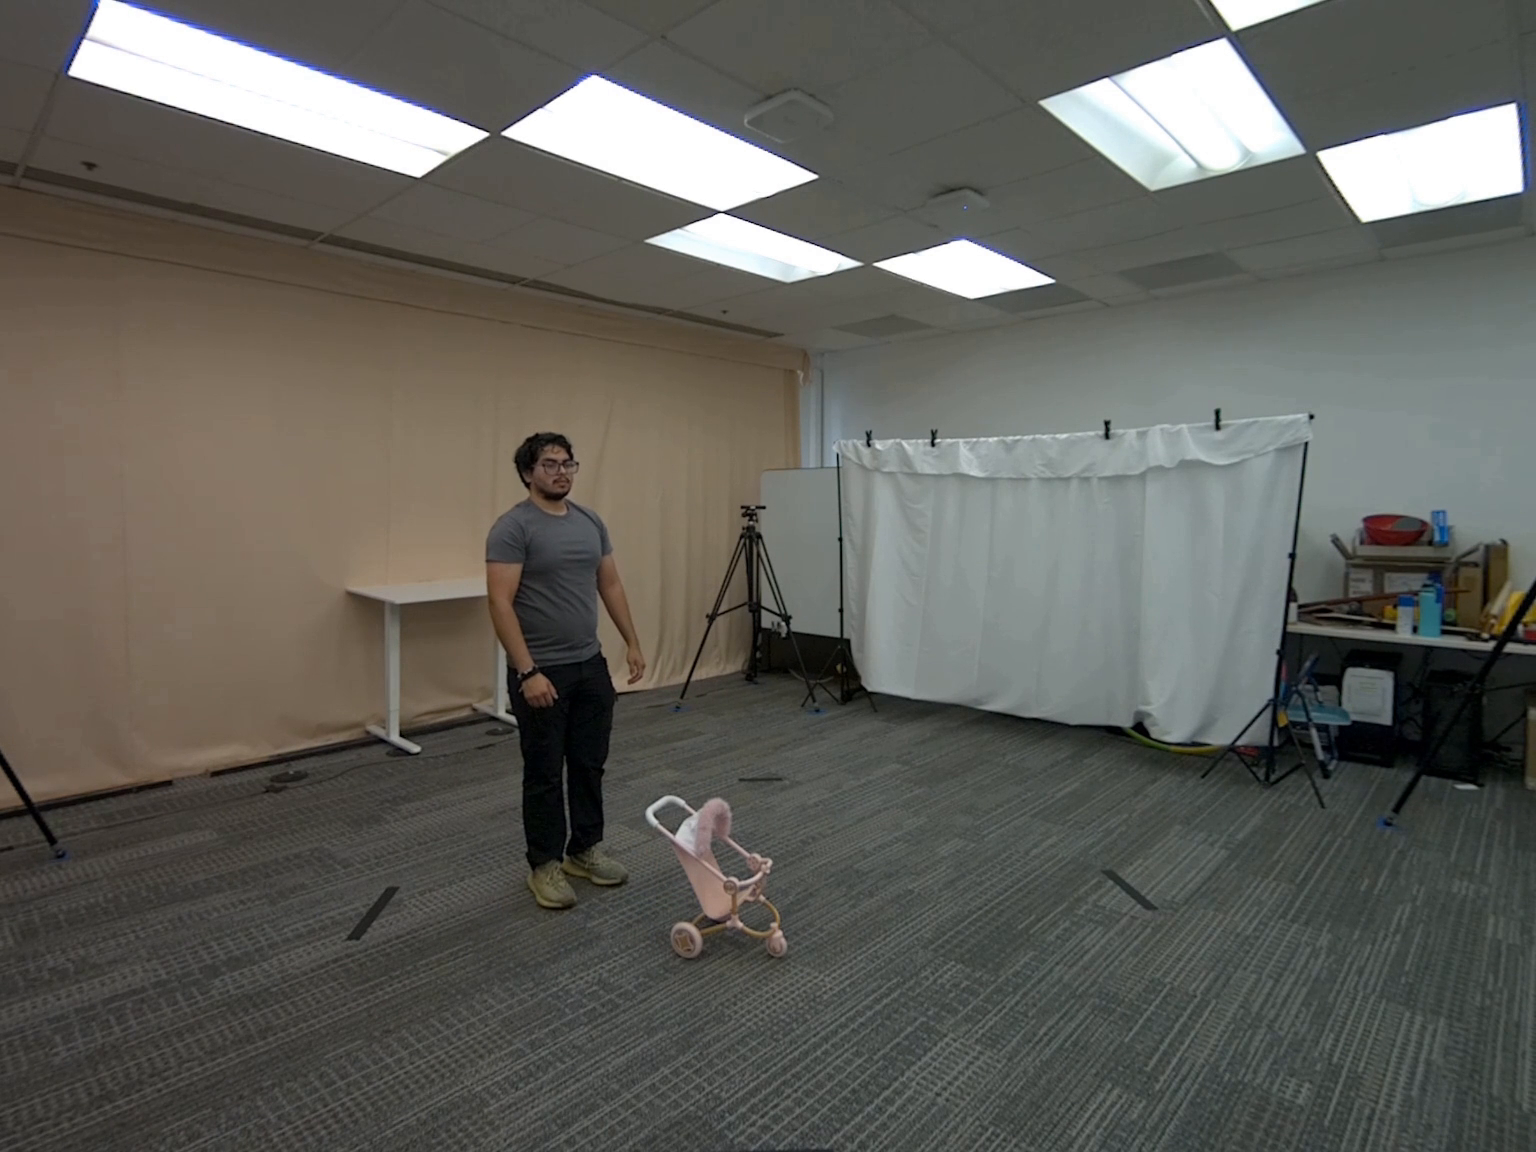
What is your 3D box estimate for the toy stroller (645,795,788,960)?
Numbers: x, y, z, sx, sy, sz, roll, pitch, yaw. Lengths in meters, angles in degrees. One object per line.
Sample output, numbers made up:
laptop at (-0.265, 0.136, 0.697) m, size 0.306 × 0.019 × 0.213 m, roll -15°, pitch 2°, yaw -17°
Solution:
toy stroller at (-0.148, 0.953, 2.665) m, size 0.348 × 0.537 × 0.274 m, roll -18°, pitch -5°, yaw 28°
